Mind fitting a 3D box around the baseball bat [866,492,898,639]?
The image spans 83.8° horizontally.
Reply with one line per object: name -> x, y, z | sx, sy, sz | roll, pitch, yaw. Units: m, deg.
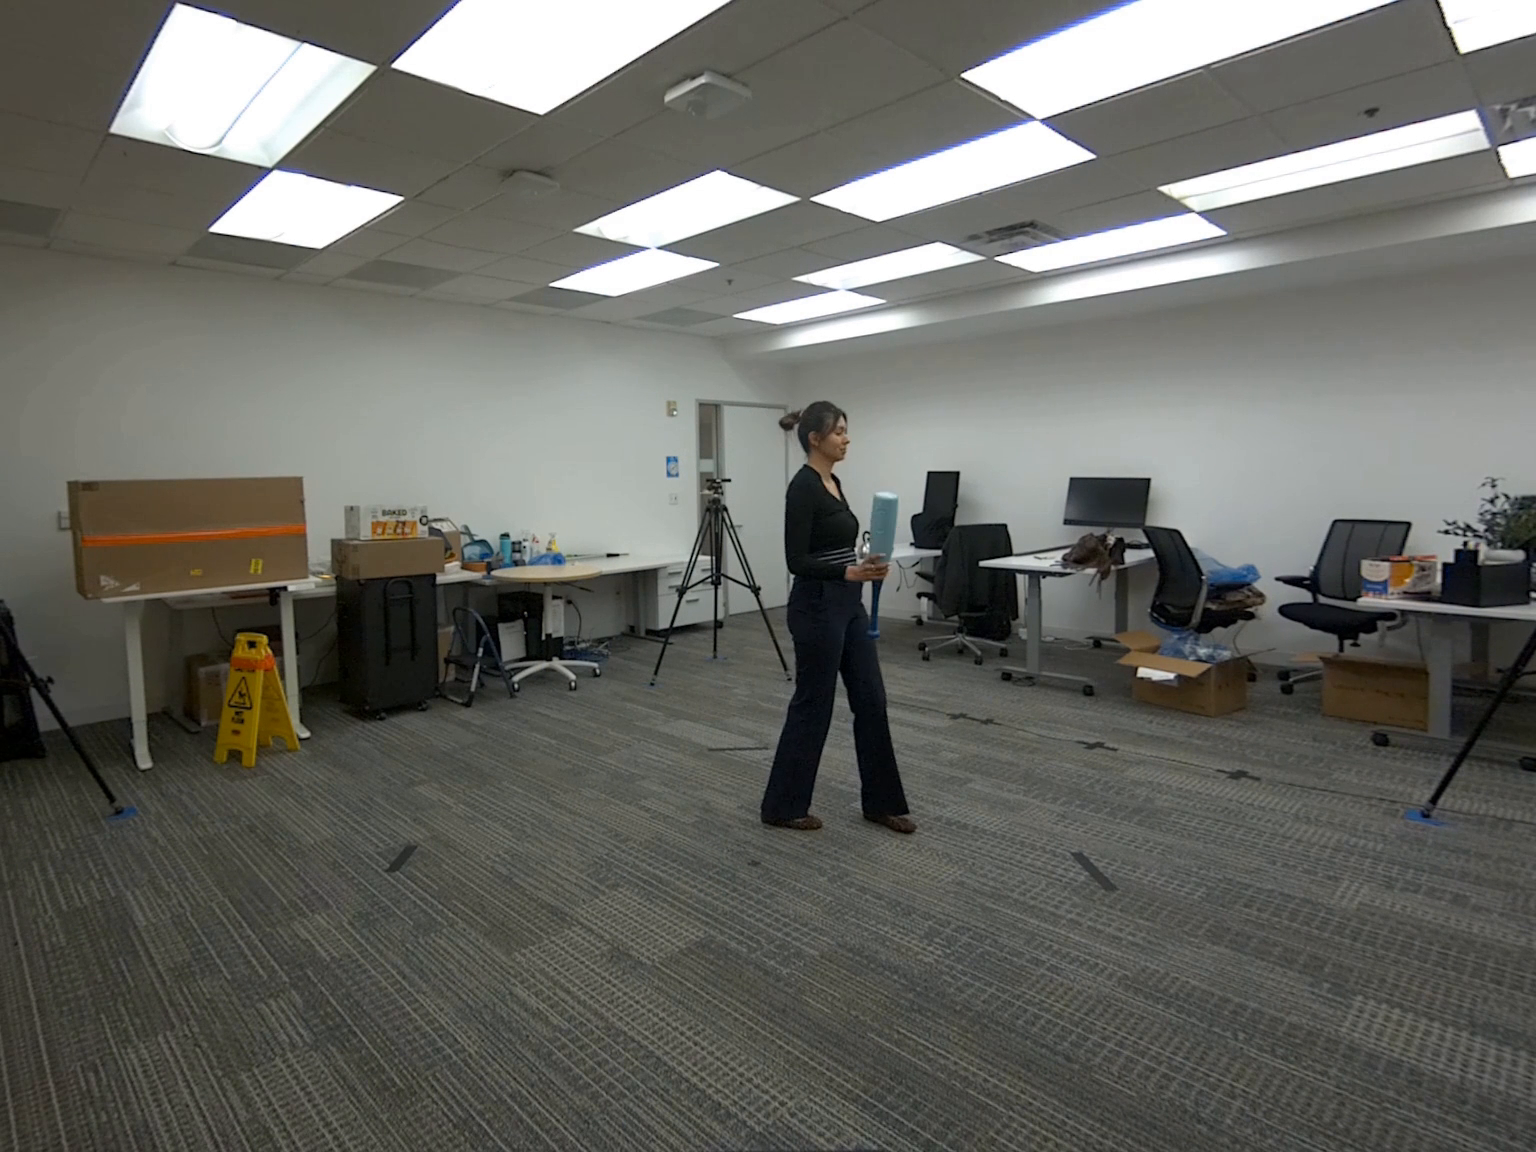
baseball bat -> 0.396, -0.037, 3.054 | 0.089, 0.535, 0.090 | 2, 17, -2
